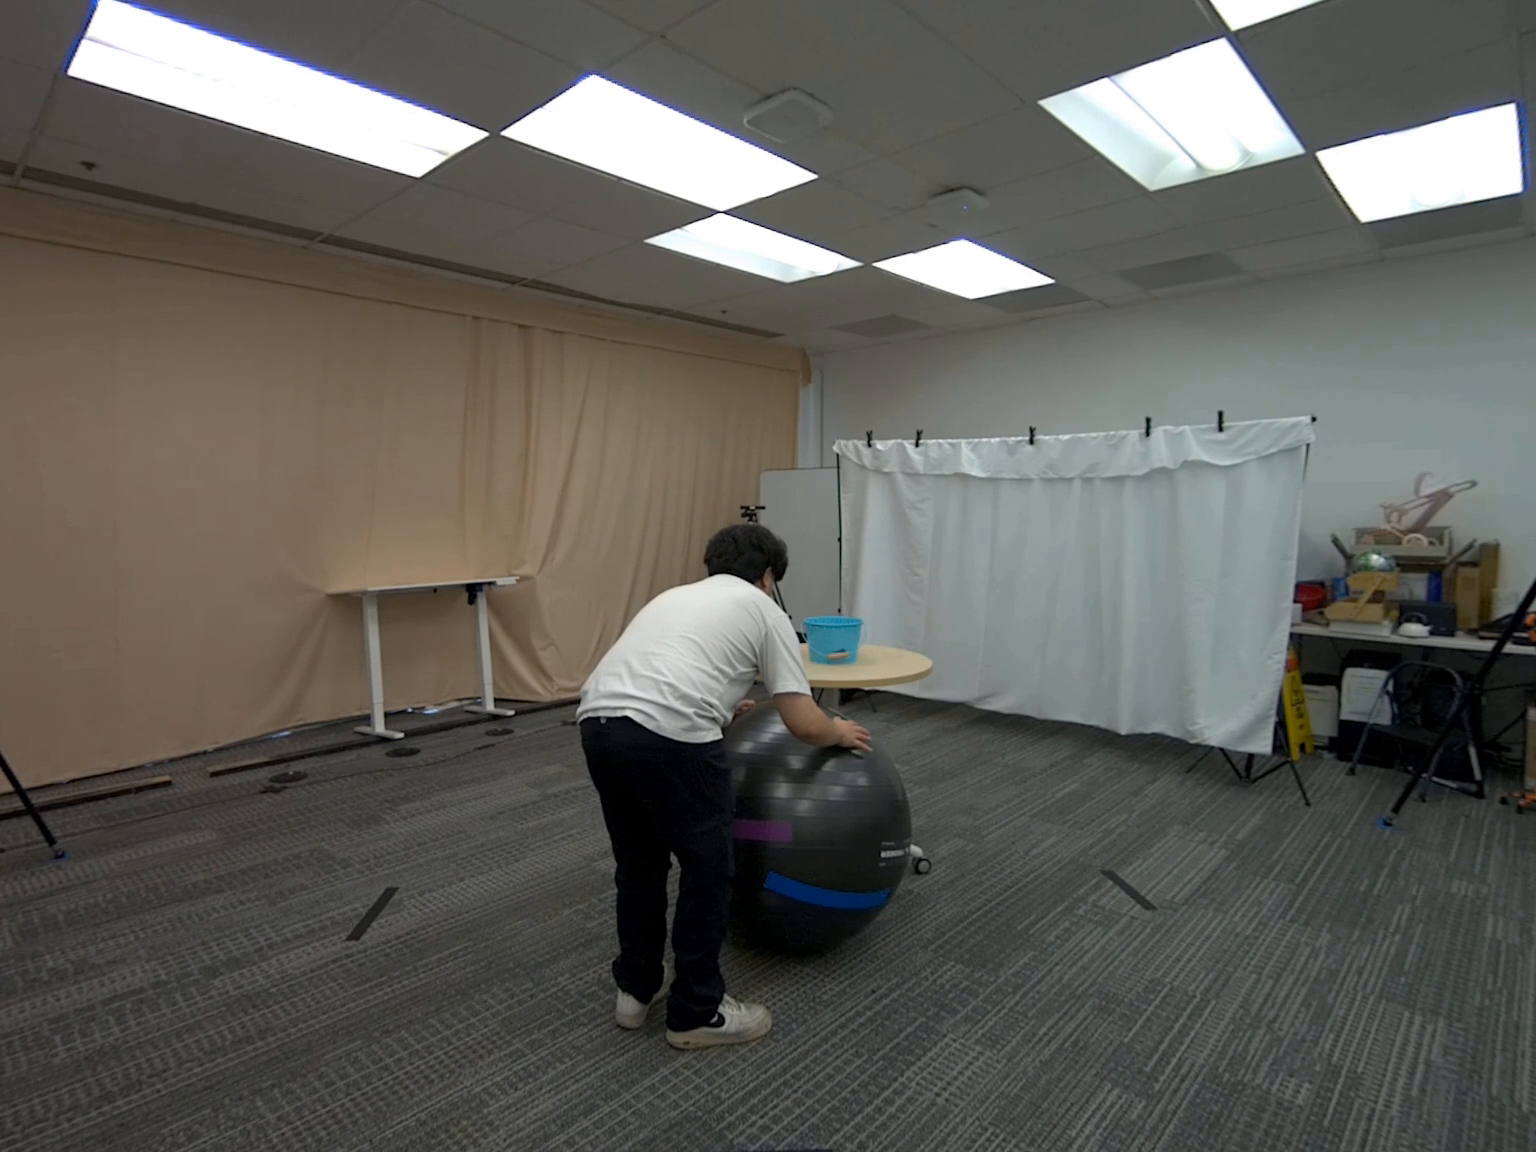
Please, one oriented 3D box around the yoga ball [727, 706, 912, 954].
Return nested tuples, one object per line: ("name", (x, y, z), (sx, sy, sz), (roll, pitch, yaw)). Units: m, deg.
("yoga ball", (0.077, 0.802, 2.715), (0.757, 0.756, 0.760), (0, 4, -2))
